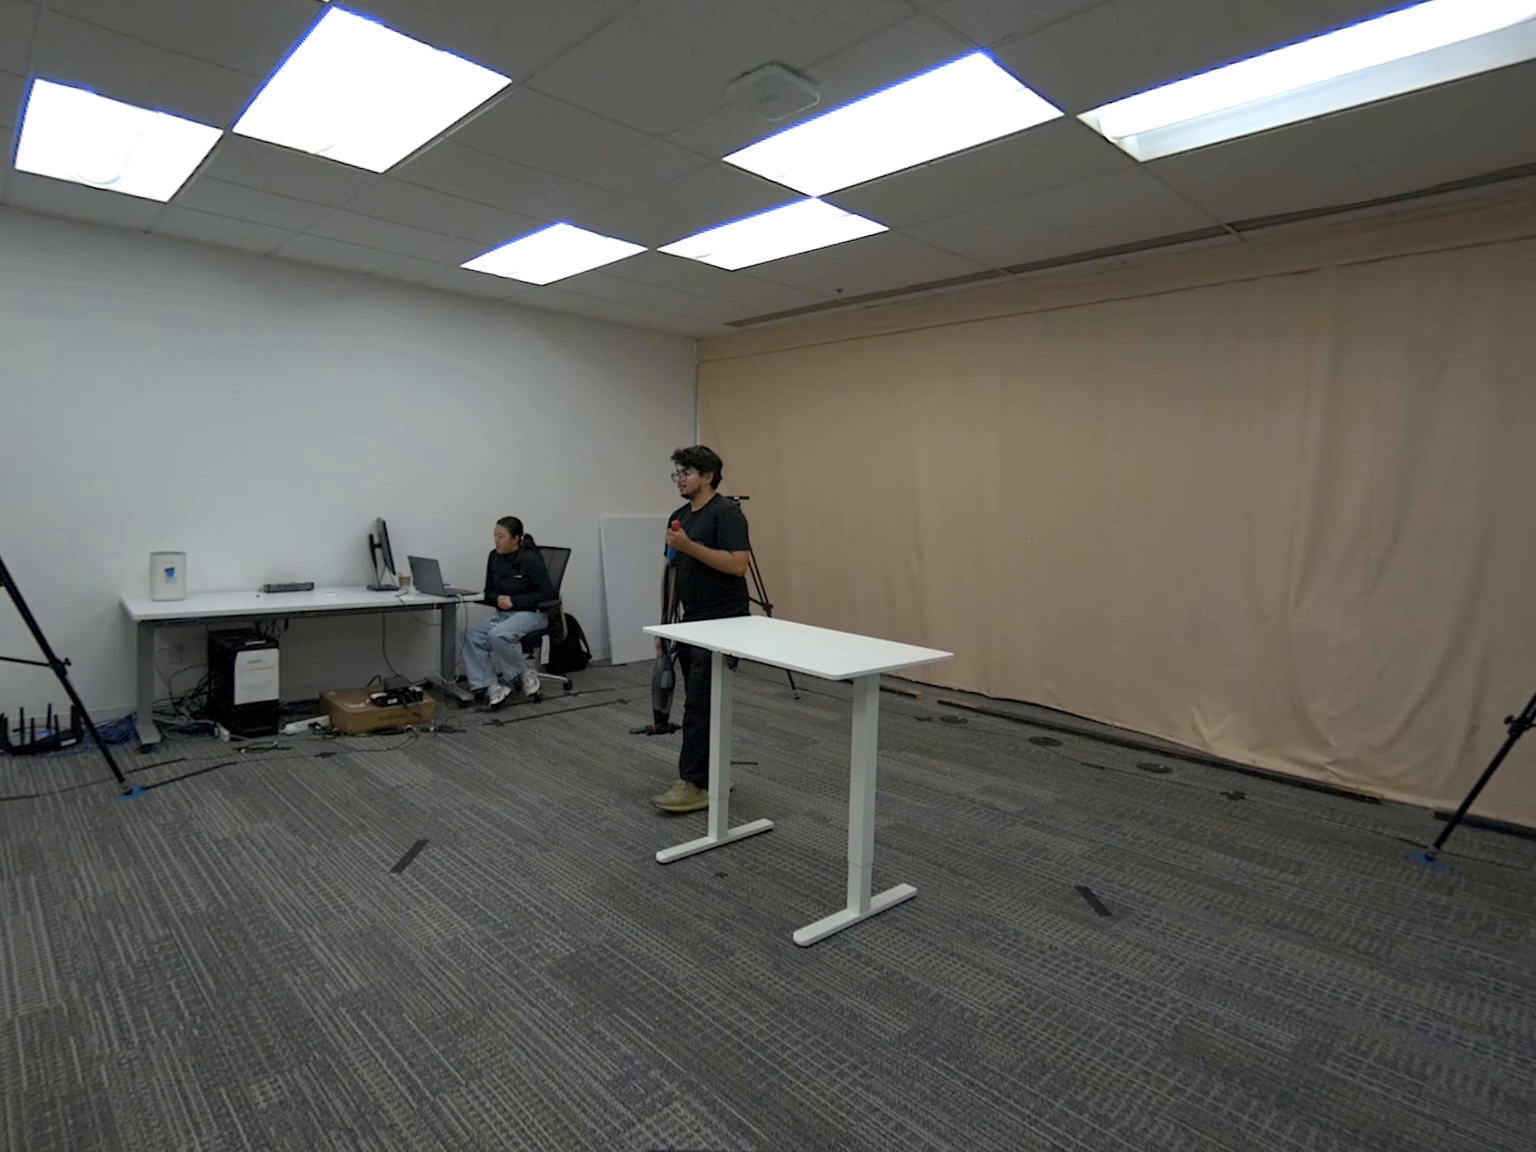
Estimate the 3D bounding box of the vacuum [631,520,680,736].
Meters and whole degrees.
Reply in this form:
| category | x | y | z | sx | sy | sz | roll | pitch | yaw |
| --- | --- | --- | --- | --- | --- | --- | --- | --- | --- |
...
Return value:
| category | x | y | z | sx | sy | sz | roll | pitch | yaw |
| --- | --- | --- | --- | --- | --- | --- | --- | --- | --- |
| vacuum | -0.483 | 0.261 | 3.826 | 0.249 | 1.036 | 0.148 | -2 | 21 | -22 |
